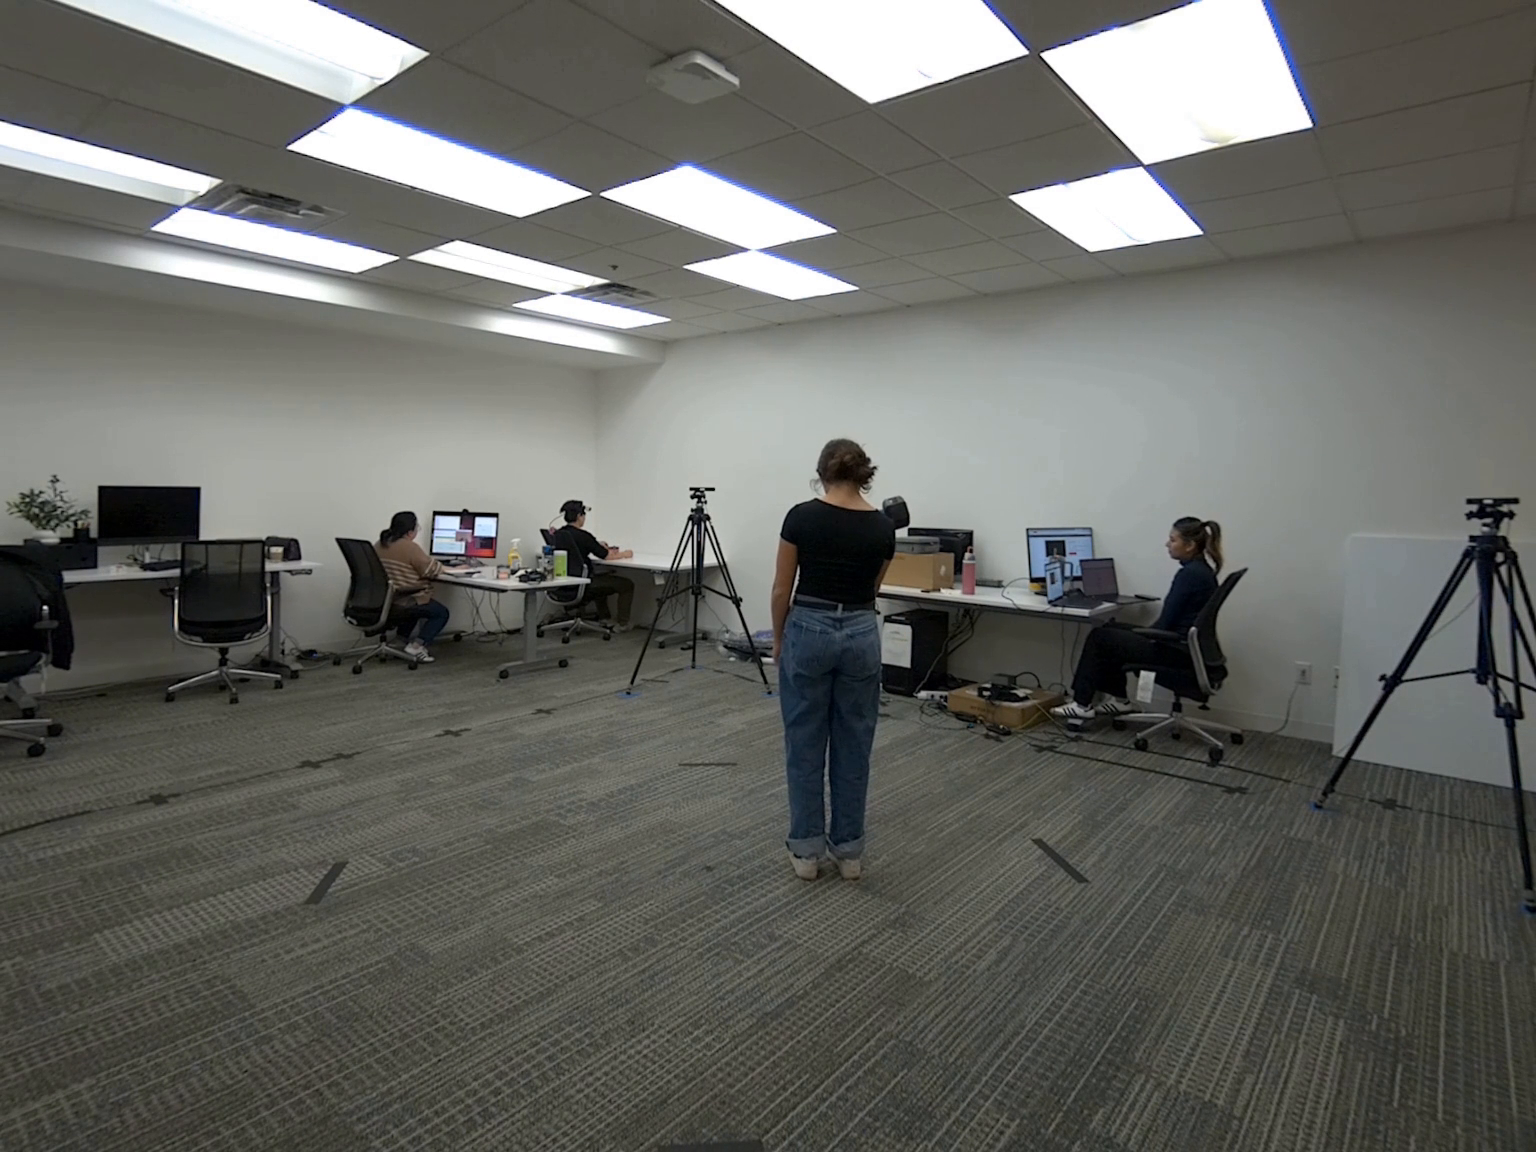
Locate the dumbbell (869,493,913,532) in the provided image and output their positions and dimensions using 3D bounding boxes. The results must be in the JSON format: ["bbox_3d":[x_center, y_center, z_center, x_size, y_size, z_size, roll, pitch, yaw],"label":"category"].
[{"bbox_3d":[0.382,-0.210,3.226,0.294,0.124,0.108,-17,-6,2],"label":"dumbbell"}]
